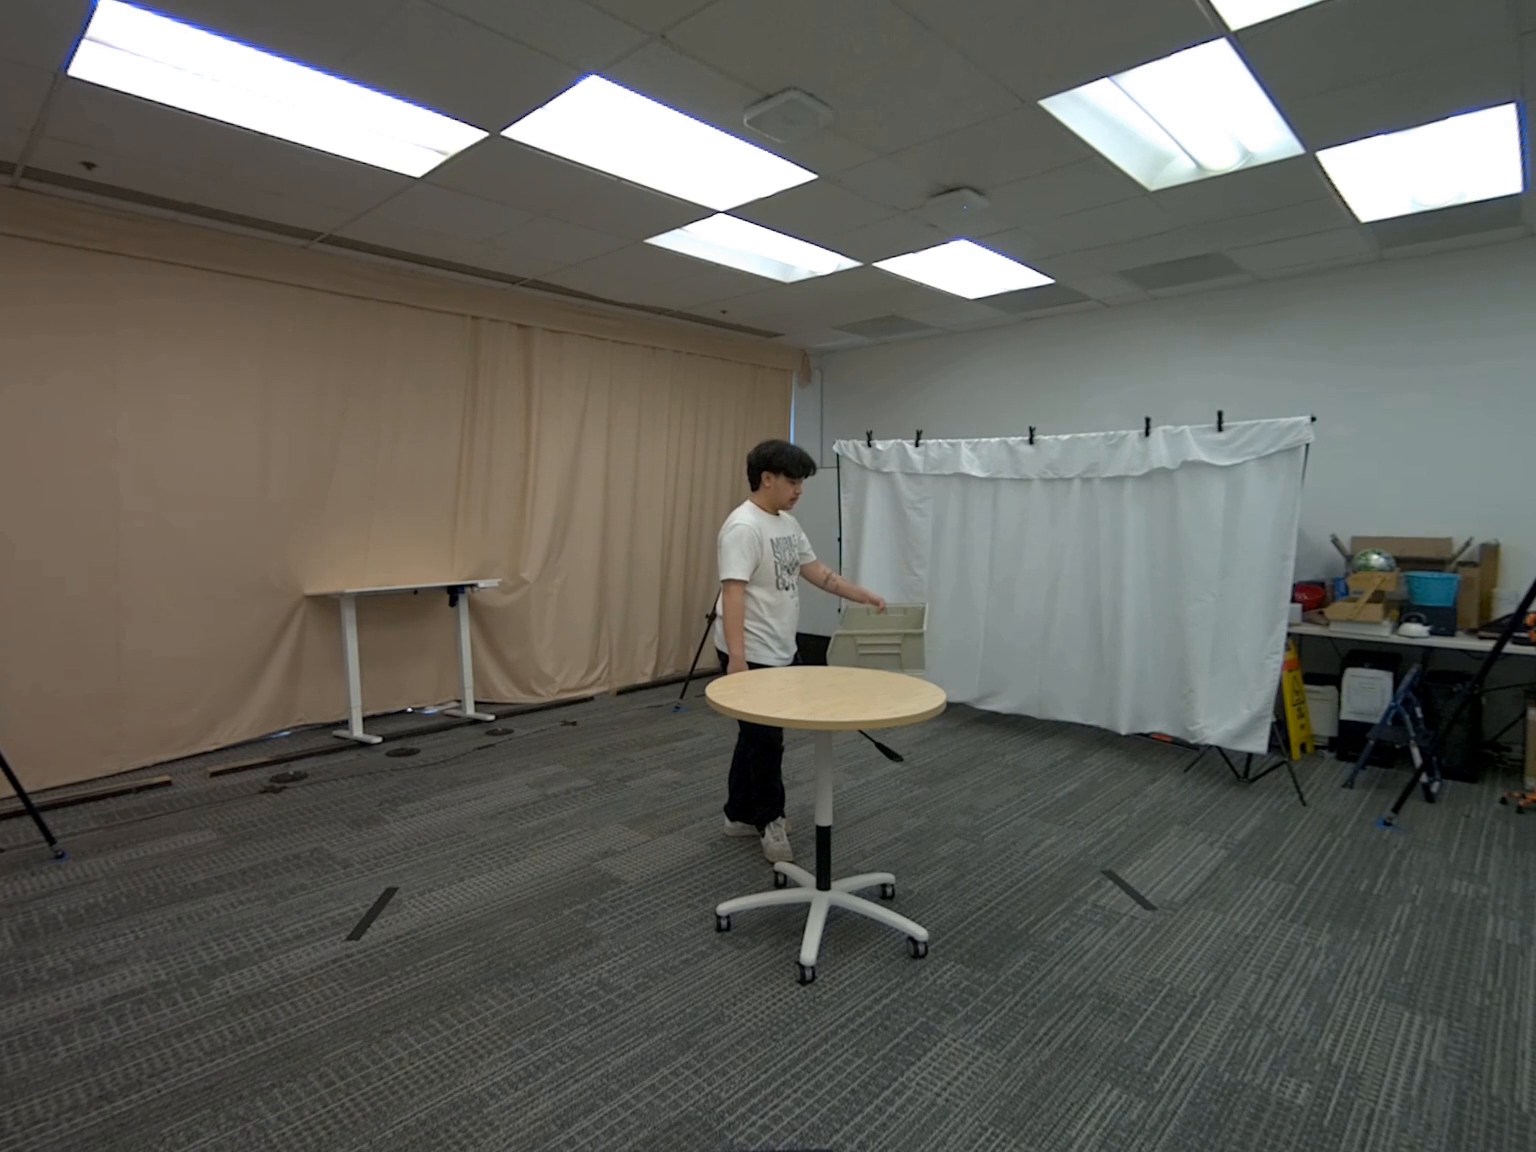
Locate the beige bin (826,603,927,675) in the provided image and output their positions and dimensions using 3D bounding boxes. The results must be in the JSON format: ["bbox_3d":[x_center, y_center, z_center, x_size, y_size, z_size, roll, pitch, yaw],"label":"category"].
[{"bbox_3d":[0.442,0.248,3.381,0.383,0.188,0.419,1,11,12],"label":"beige bin"}]
